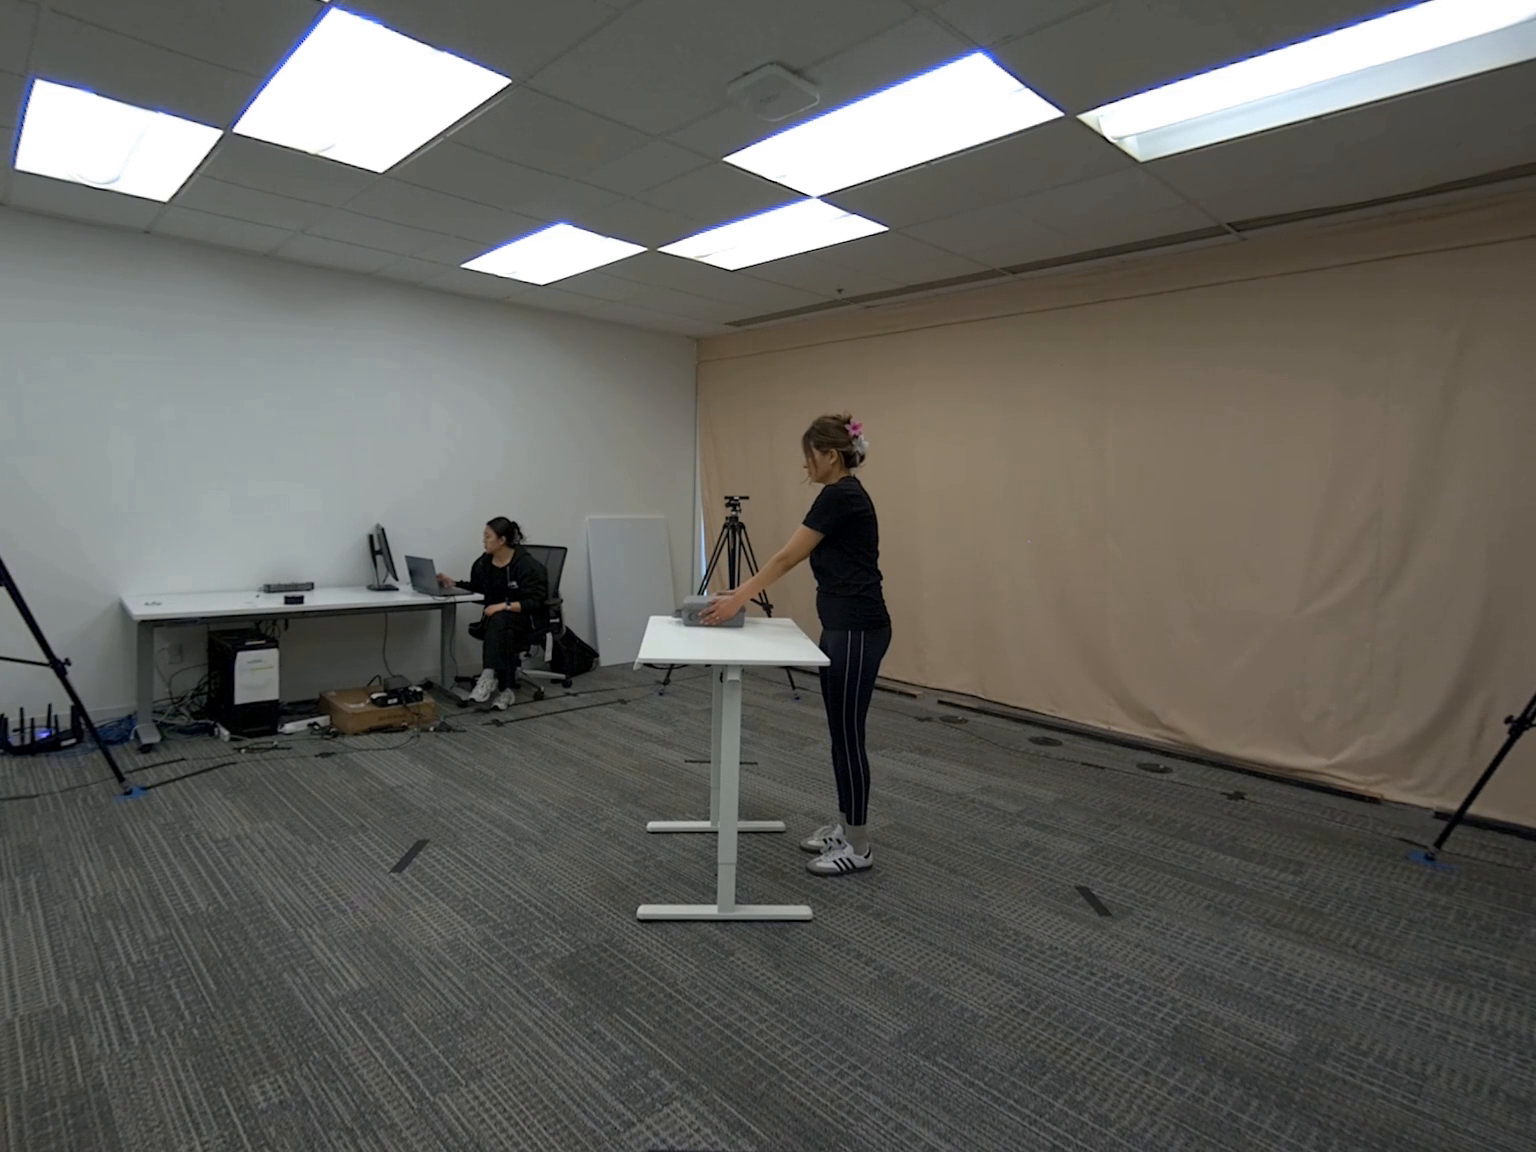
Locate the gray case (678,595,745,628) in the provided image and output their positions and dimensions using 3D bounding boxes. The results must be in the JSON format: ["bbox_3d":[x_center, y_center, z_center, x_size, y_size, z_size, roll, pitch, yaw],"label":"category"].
[{"bbox_3d":[-0.228,0.143,3.423,0.260,0.104,0.258,0,5,-2],"label":"gray case"}]
